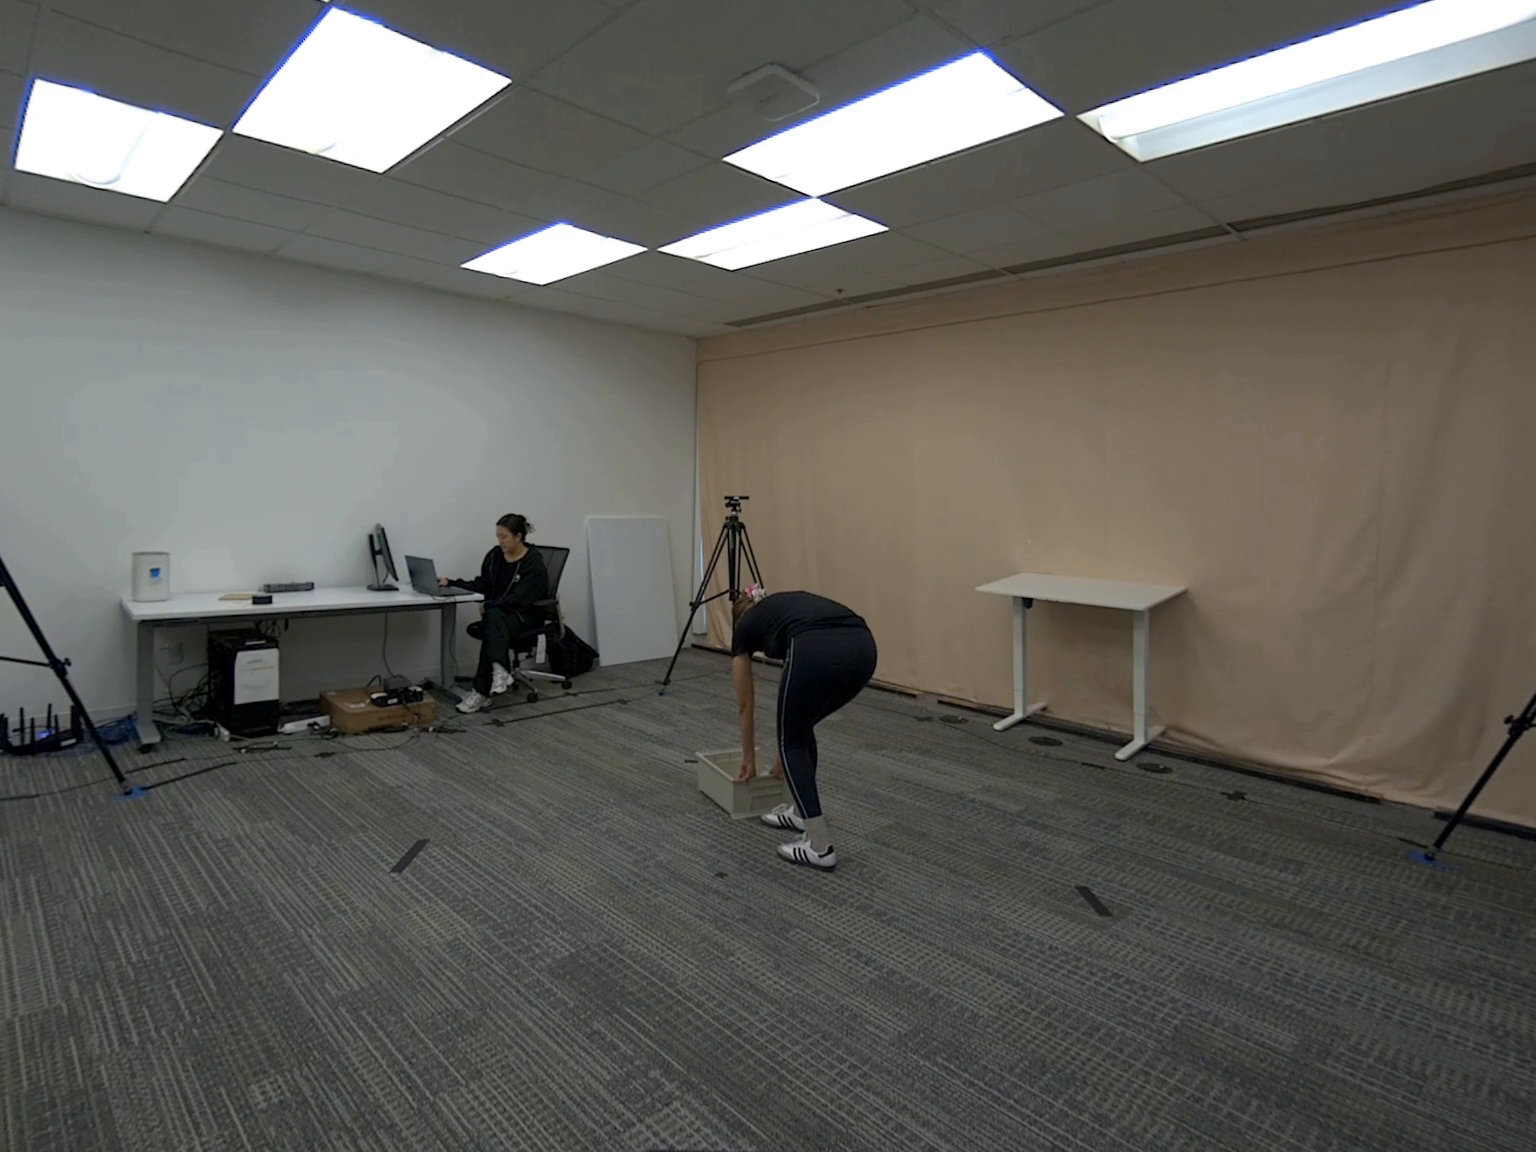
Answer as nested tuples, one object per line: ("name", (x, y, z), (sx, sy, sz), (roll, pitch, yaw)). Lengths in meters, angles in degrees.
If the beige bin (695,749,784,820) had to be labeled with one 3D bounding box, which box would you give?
("beige bin", (-0.096, 0.945, 3.905), (0.370, 0.188, 0.432), (-2, 7, -27))
